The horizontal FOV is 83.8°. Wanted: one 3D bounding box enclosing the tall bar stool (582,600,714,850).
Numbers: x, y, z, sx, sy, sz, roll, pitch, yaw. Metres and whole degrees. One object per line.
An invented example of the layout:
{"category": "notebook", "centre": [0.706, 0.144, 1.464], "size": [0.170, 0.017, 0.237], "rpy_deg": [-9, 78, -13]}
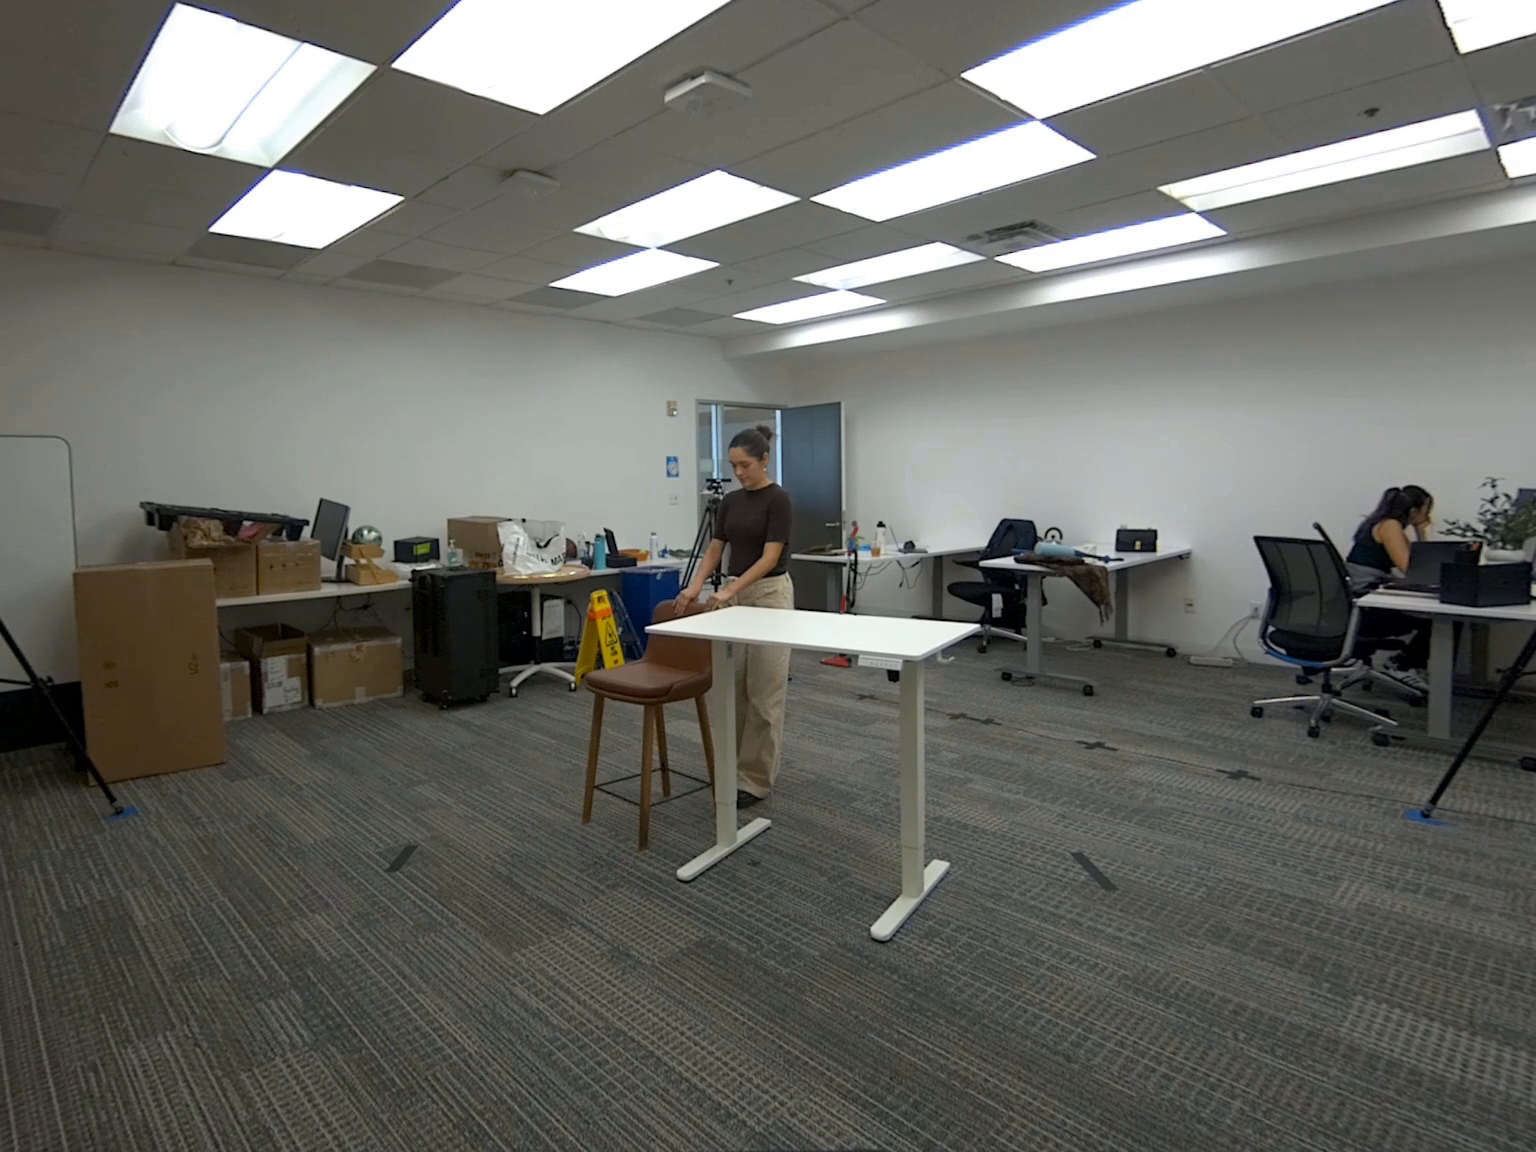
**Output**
{"category": "tall bar stool", "centre": [-0.467, 0.568, 3.507], "size": [0.470, 0.888, 0.454], "rpy_deg": [2, 2, 45]}
